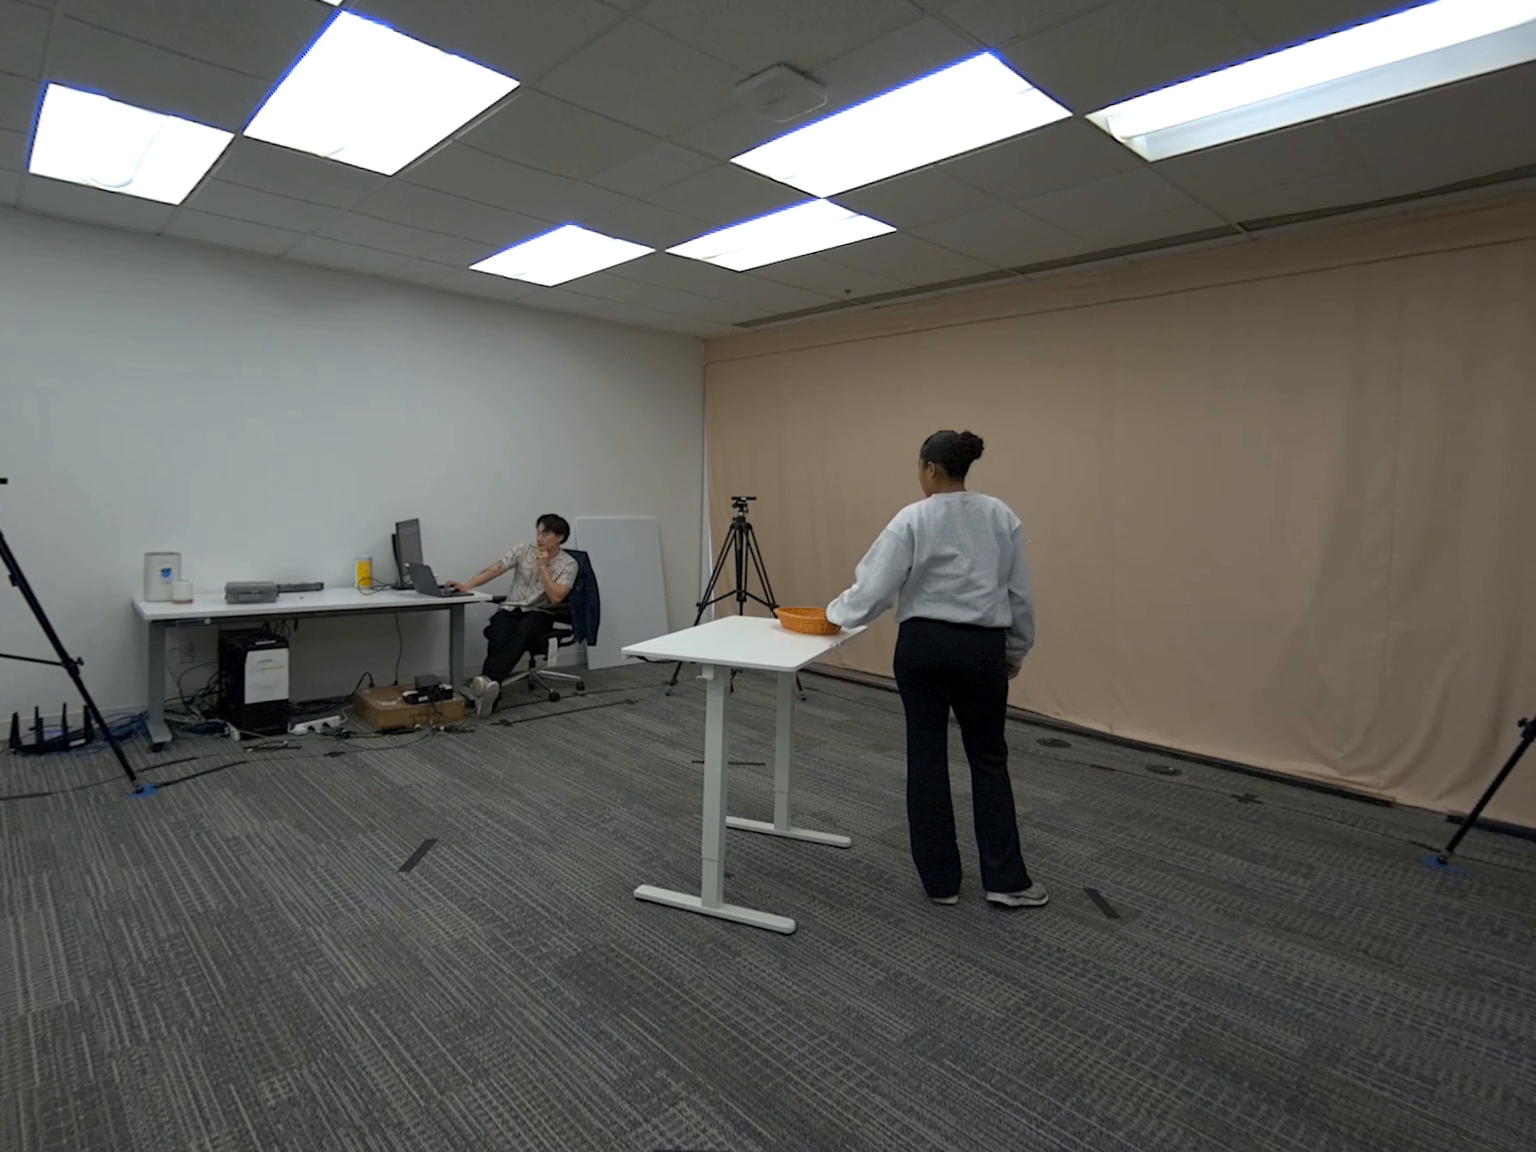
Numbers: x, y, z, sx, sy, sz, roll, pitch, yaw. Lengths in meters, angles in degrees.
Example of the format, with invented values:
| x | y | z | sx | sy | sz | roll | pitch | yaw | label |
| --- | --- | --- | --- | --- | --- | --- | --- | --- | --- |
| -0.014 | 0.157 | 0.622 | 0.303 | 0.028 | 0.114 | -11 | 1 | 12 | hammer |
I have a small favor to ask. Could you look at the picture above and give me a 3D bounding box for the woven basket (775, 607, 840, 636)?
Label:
| x | y | z | sx | sy | sz | roll | pitch | yaw | label |
| --- | --- | --- | --- | --- | --- | --- | --- | --- | --- |
| 0.169 | 0.173 | 3.337 | 0.249 | 0.073 | 0.355 | 0 | 5 | -15 | woven basket |
